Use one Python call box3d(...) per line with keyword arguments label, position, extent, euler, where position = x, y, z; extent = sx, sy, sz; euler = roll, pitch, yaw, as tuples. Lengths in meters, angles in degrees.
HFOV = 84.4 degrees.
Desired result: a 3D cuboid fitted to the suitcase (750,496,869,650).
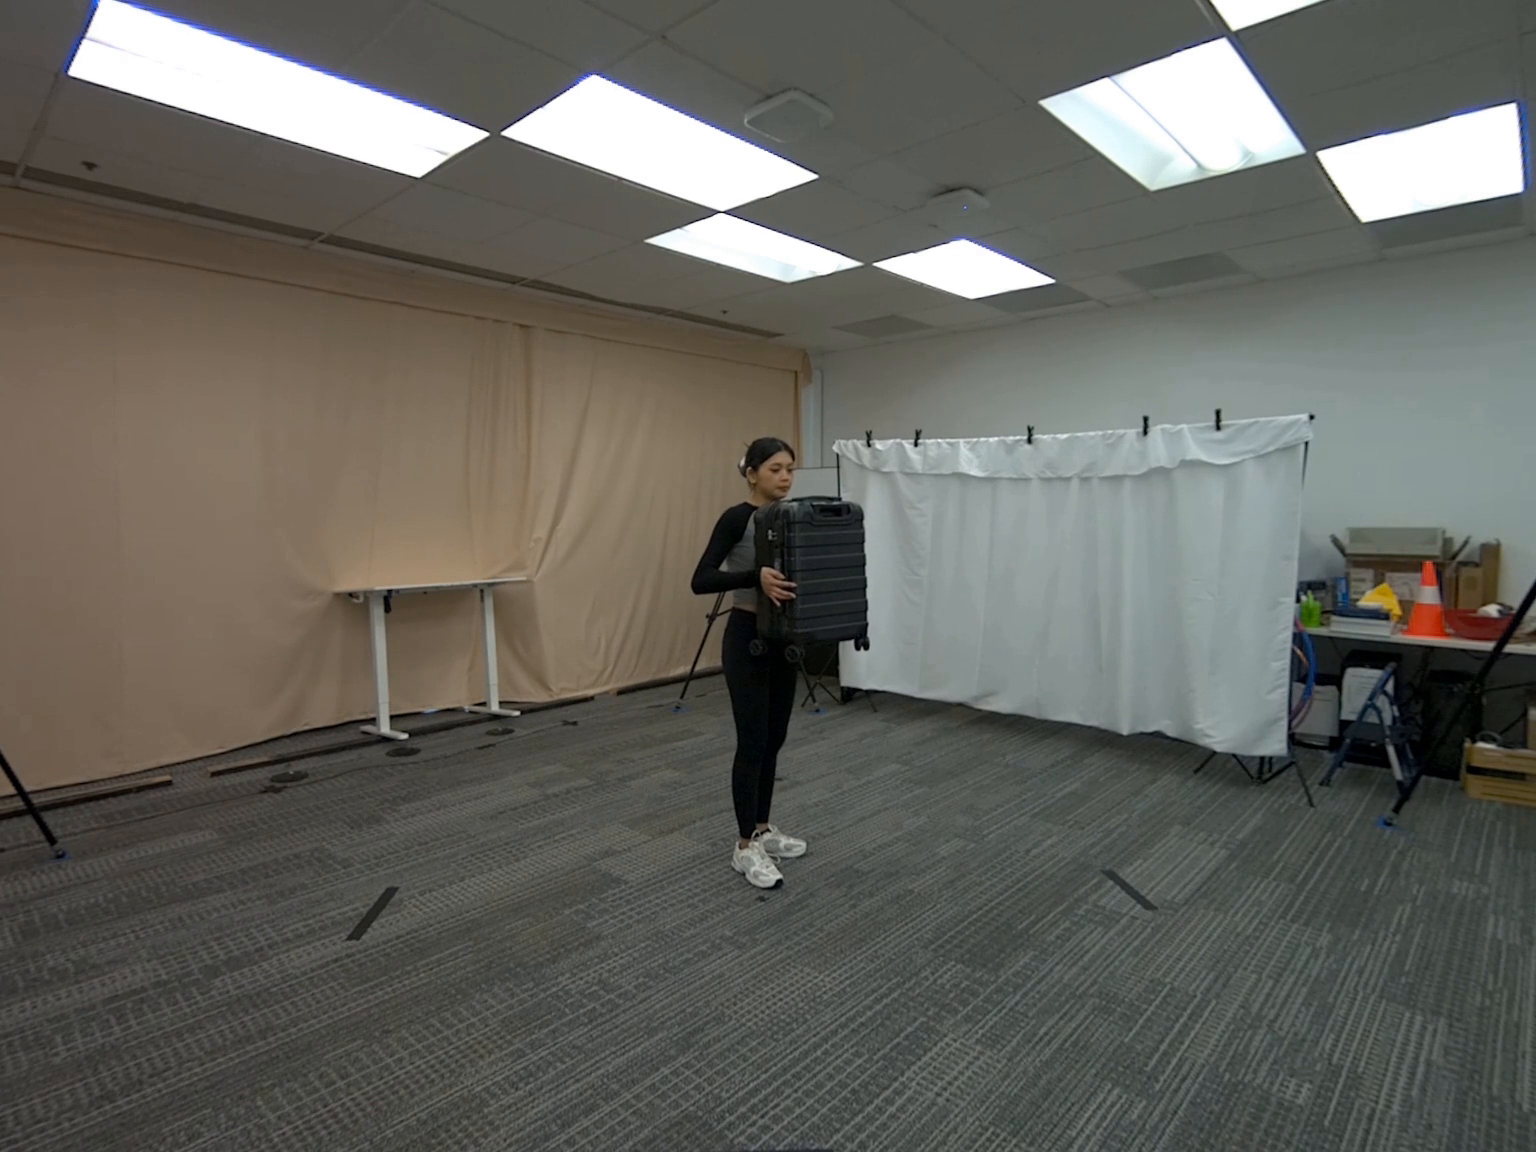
box3d(label="suitcase", position=(0.157, -0.003, 2.980), extent=(0.365, 0.548, 0.256), euler=(-5, 3, -35))
